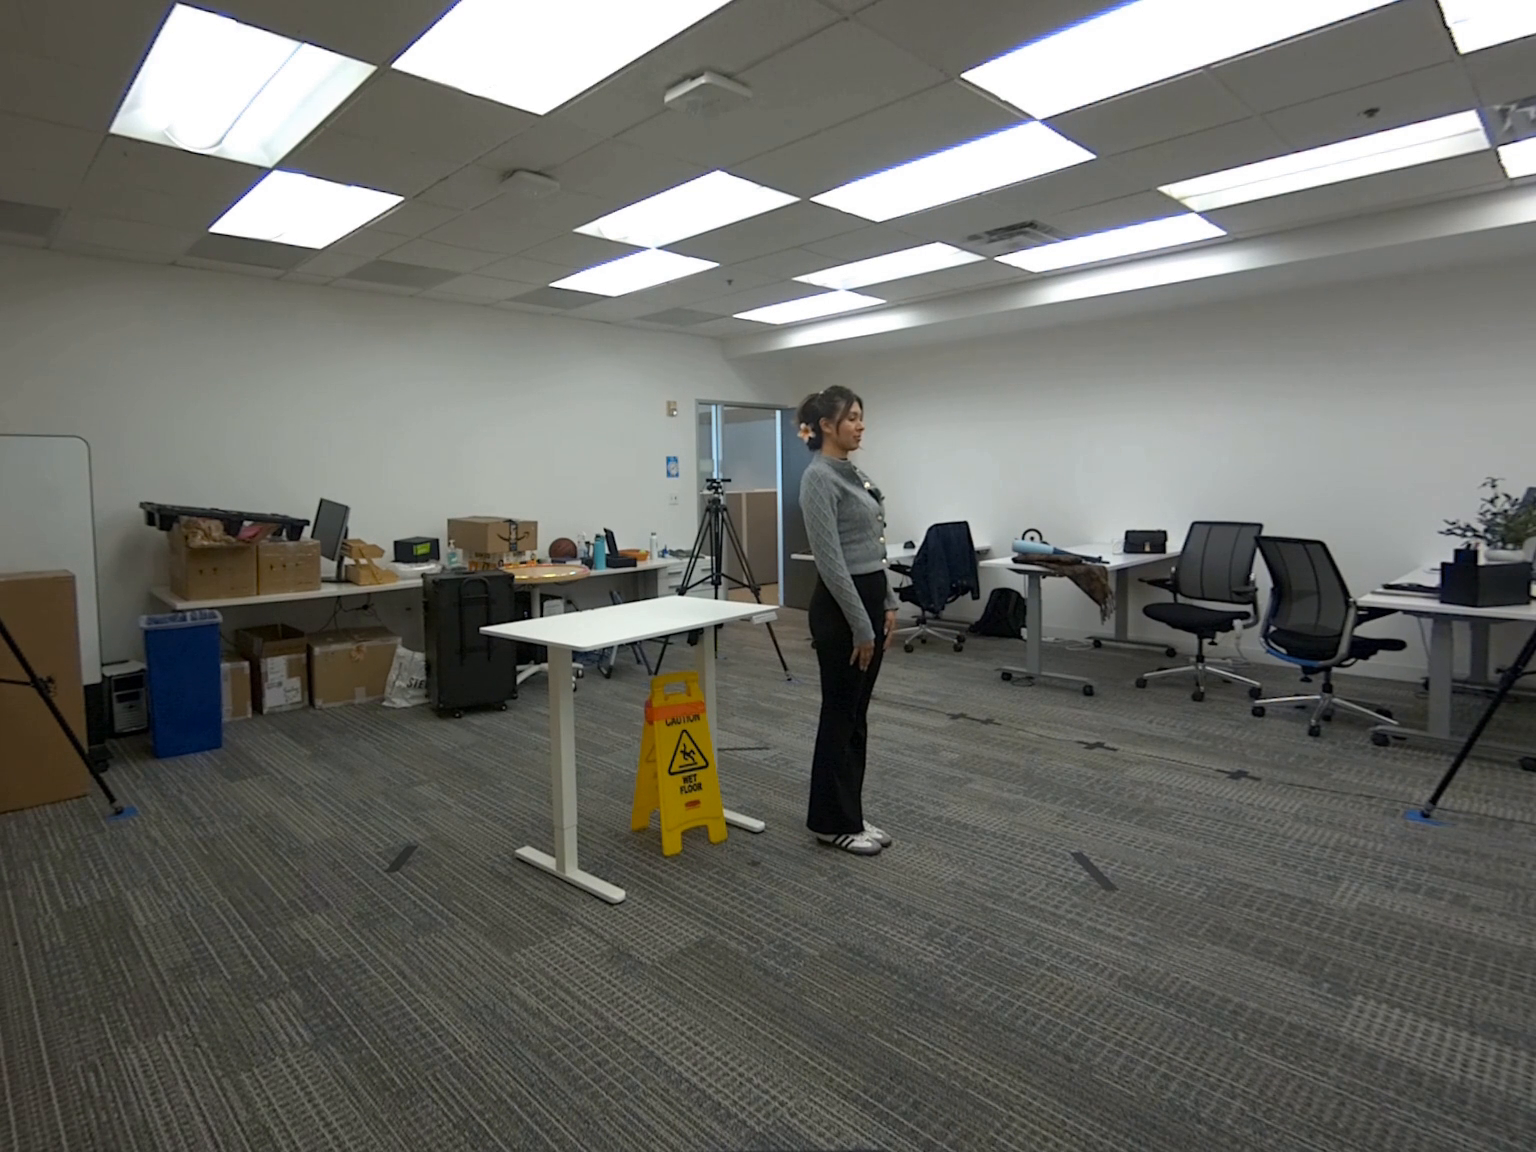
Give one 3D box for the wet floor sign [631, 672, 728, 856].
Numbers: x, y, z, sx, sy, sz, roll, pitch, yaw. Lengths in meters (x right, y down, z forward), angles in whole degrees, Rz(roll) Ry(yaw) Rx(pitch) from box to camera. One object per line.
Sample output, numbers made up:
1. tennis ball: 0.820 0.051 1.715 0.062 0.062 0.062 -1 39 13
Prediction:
1. wet floor sign: -0.362 0.699 3.350 0.275 0.644 0.298 -3 3 -33
